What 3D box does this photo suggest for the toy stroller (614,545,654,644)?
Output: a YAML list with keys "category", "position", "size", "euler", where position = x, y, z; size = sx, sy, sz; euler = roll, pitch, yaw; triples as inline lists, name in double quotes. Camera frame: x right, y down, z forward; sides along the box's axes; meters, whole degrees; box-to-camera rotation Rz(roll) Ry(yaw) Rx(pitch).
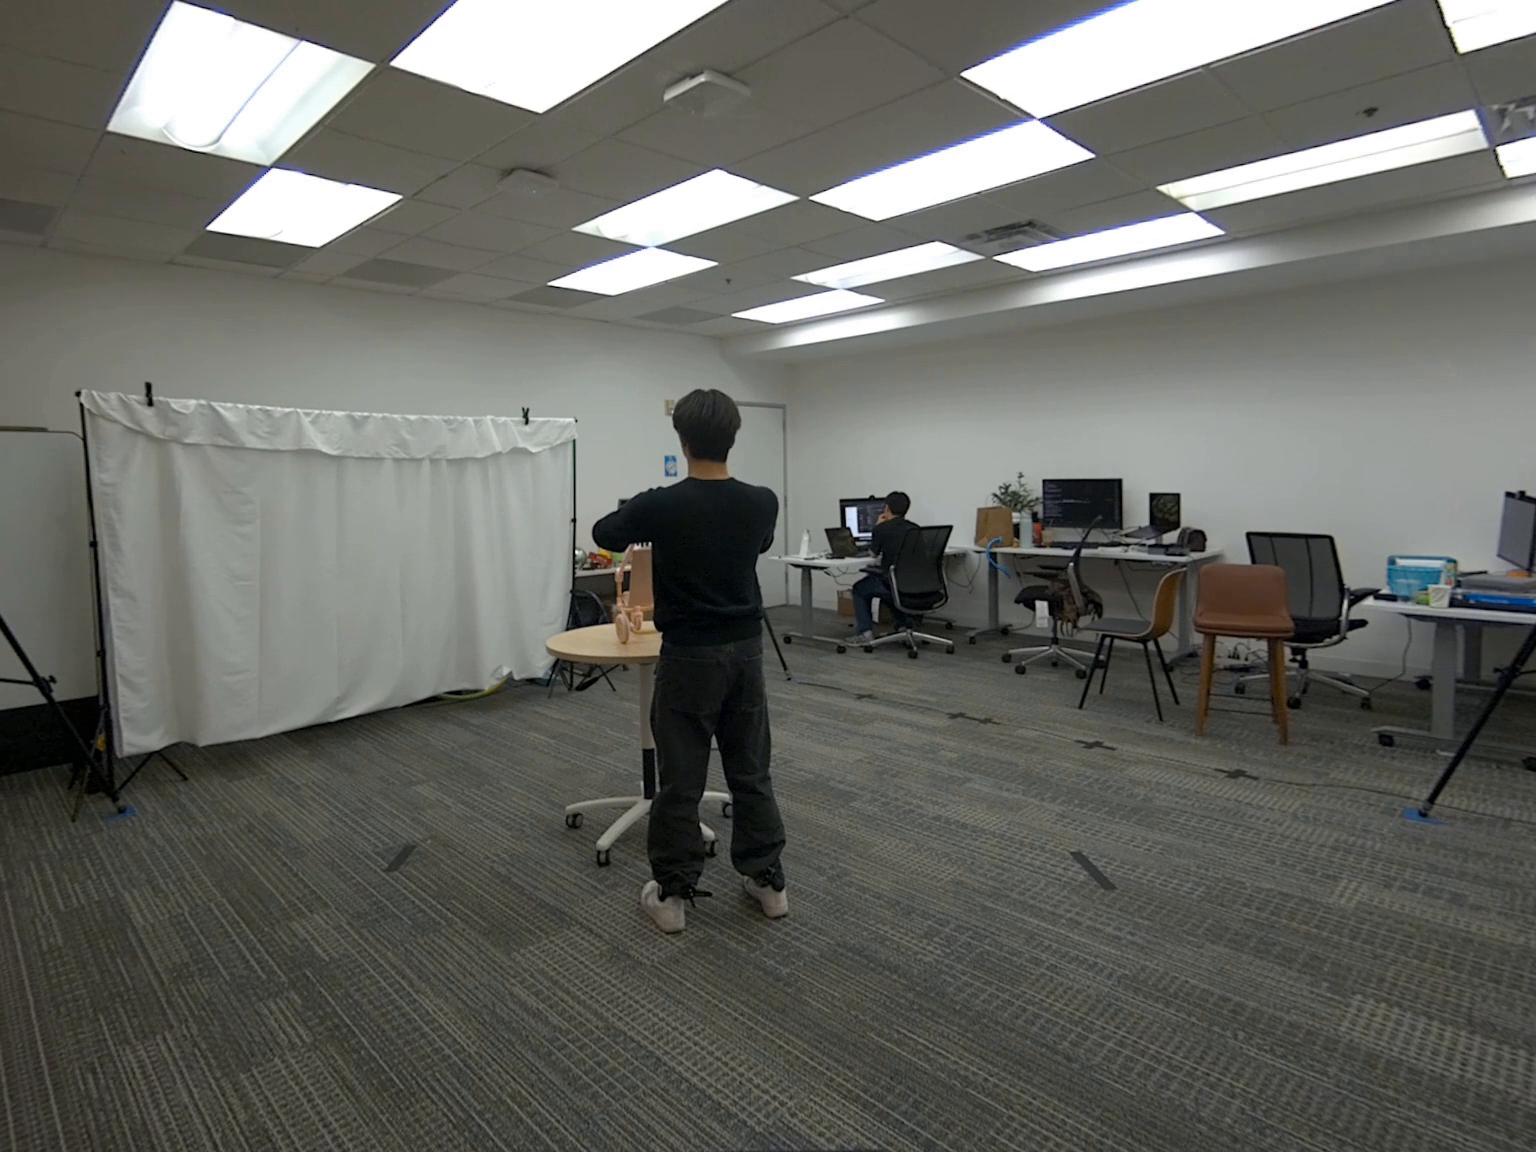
- category: "toy stroller"
  position: [-0.465, 0.018, 3.329]
  size: [0.277, 0.527, 0.352]
  euler: [-3, 20, -19]
